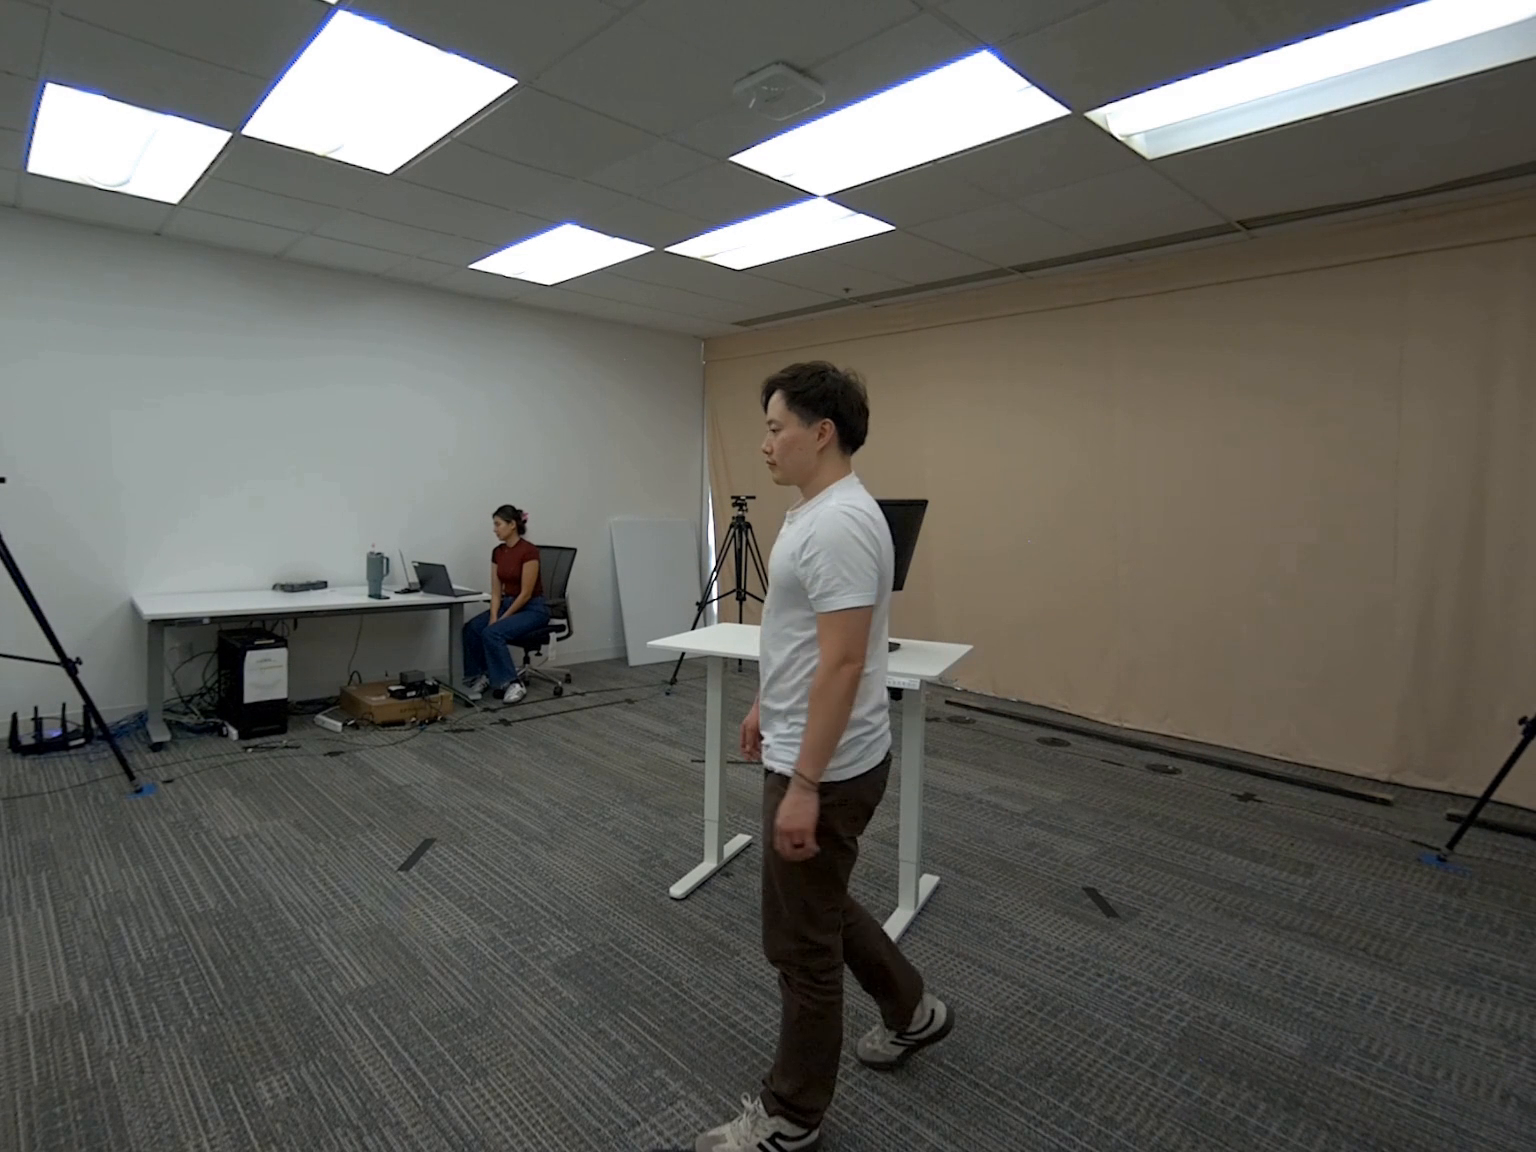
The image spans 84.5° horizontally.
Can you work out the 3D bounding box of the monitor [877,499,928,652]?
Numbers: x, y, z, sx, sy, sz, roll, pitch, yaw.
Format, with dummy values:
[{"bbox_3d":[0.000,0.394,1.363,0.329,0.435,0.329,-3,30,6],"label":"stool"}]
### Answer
[{"bbox_3d":[0.337,0.001,2.861,0.527,0.520,0.192,-3,10,-41],"label":"monitor"}]
